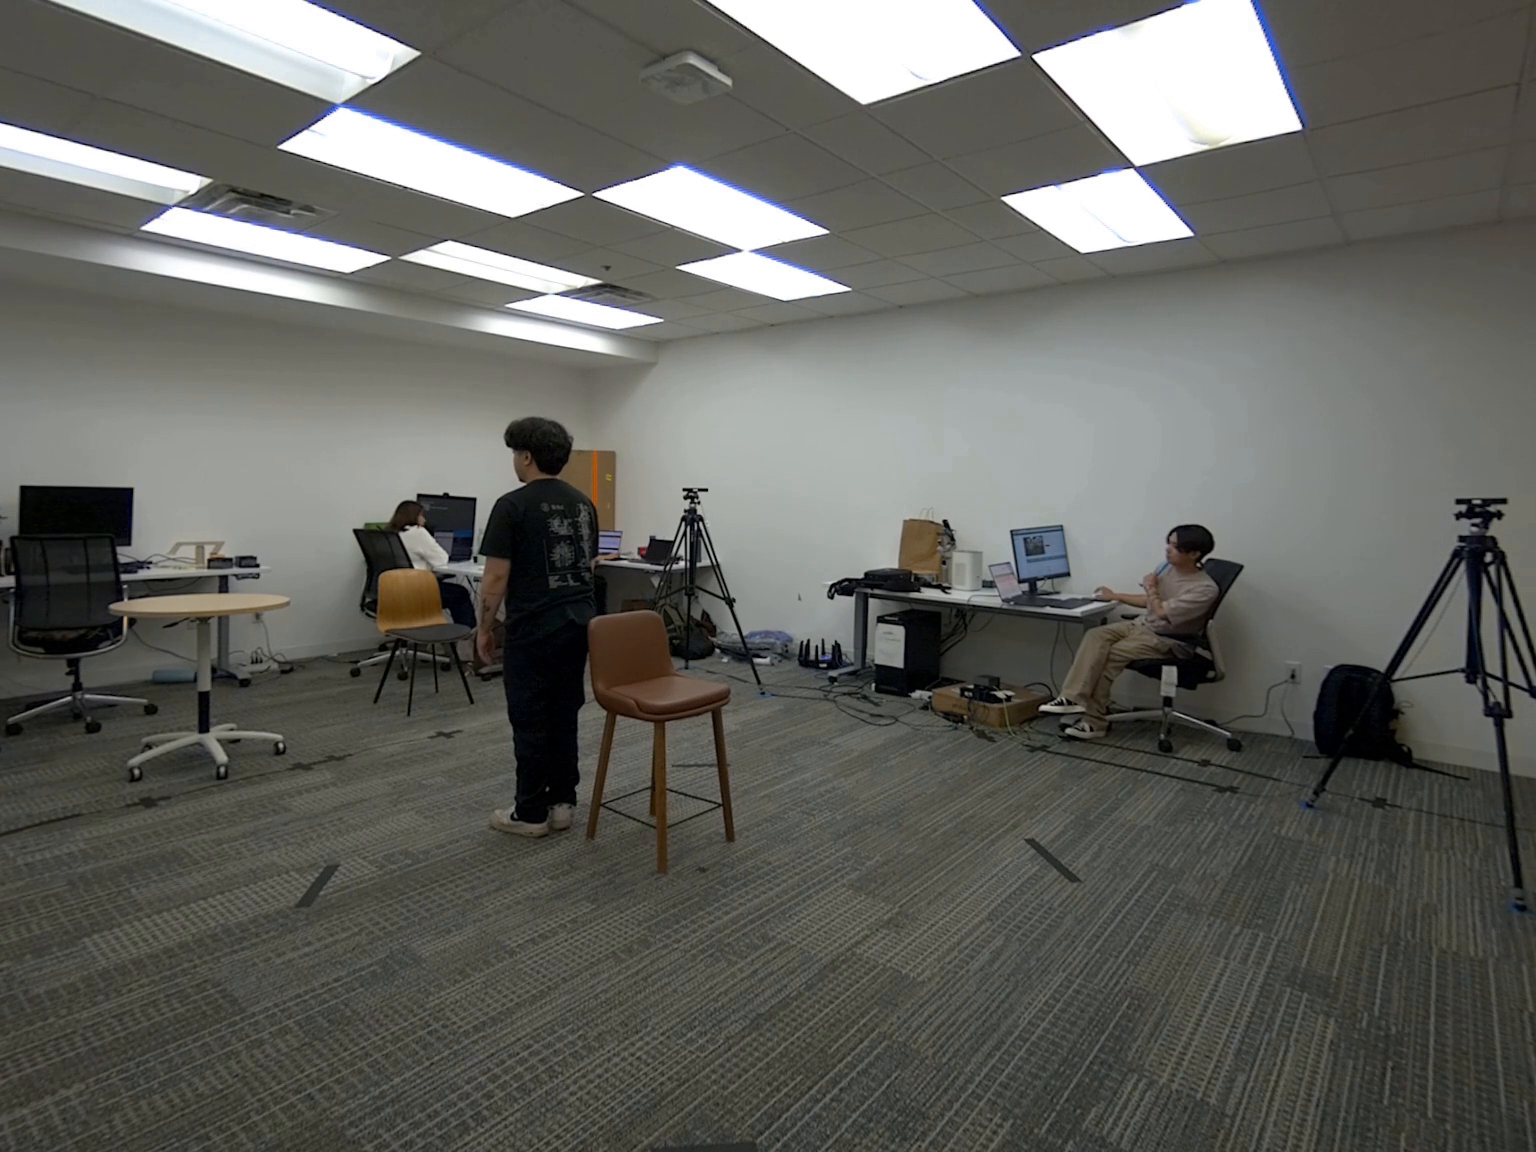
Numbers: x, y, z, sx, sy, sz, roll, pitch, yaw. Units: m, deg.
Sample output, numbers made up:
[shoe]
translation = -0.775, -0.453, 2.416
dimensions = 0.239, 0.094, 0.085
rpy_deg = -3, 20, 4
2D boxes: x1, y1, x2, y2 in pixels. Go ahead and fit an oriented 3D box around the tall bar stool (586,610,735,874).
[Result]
[tall bar stool]
translation = -0.441, 0.604, 3.346
dimensions = 0.482, 0.889, 0.443
rpy_deg = 0, 2, 40
